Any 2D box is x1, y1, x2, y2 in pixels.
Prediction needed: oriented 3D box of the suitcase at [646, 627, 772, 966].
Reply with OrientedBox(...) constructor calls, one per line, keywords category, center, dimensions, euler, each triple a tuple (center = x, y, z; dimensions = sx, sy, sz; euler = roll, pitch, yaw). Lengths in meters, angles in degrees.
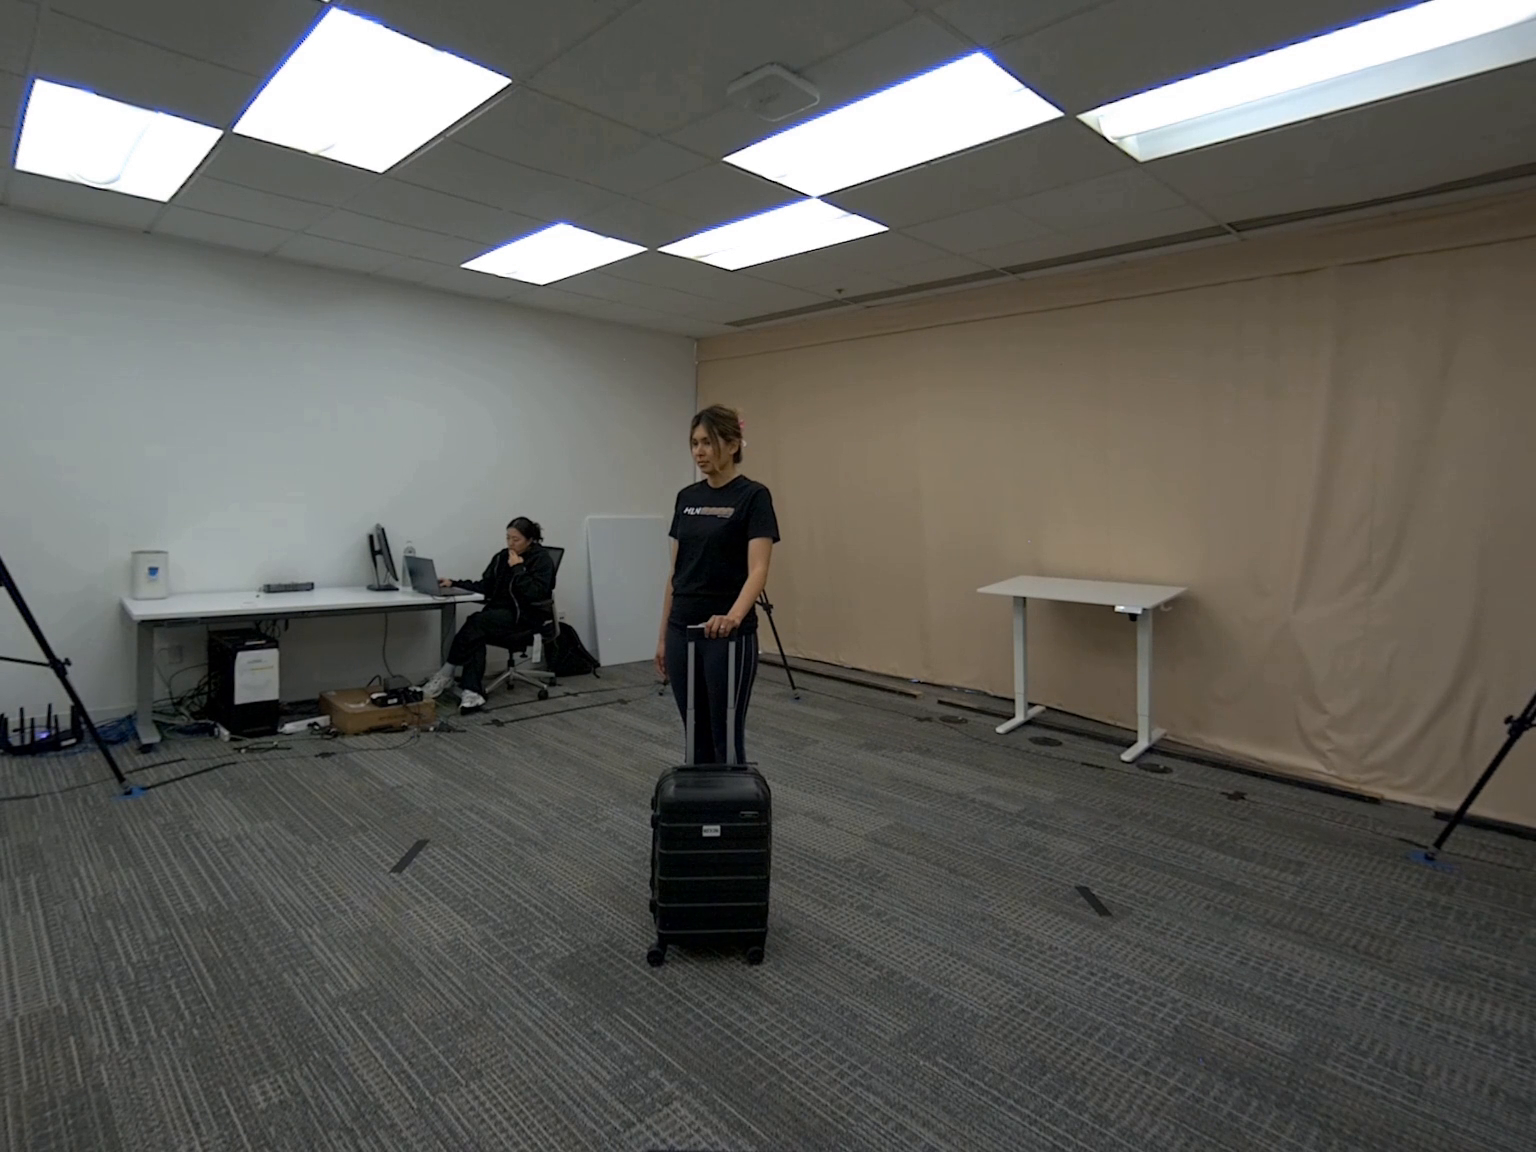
OrientedBox(category="suitcase", center=(-0.176, 0.676, 2.588), dimensions=(0.383, 0.974, 0.259), euler=(1, 6, -4))
